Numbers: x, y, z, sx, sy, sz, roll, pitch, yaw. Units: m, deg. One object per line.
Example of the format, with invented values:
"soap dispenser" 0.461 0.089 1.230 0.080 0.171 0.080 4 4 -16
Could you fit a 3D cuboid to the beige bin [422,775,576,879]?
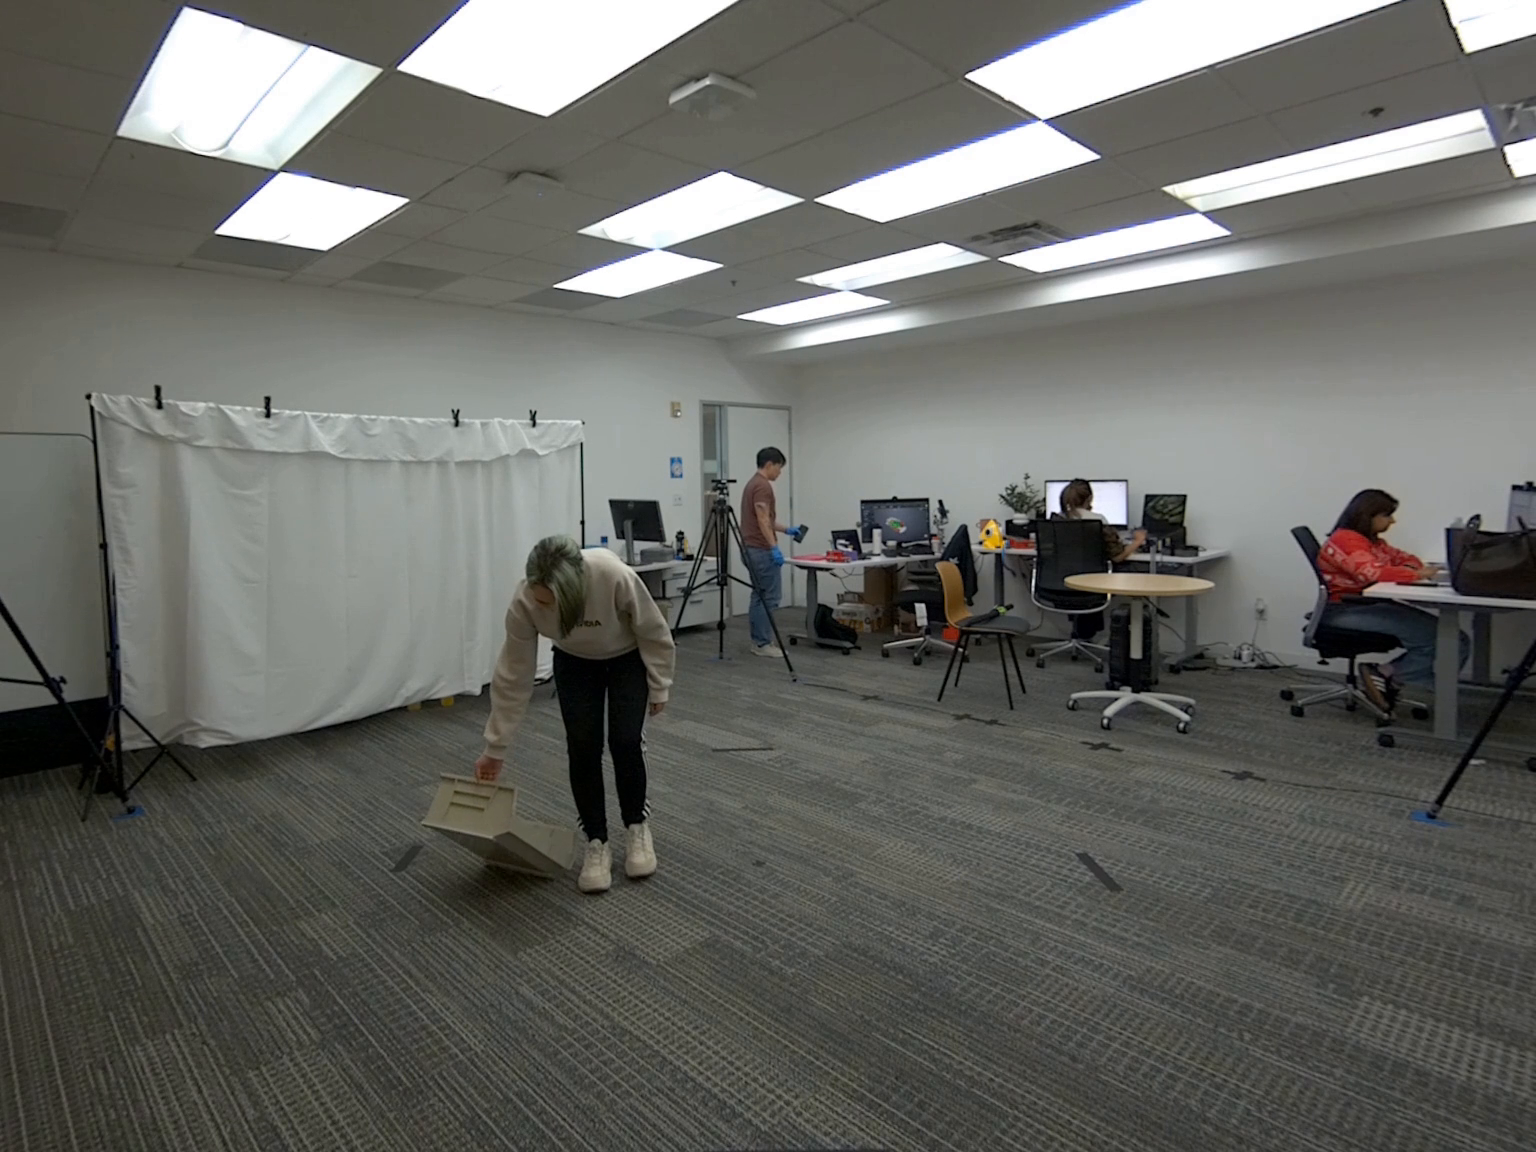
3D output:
"beige bin" -0.921 0.877 2.978 0.386 0.192 0.406 1 -35 24
